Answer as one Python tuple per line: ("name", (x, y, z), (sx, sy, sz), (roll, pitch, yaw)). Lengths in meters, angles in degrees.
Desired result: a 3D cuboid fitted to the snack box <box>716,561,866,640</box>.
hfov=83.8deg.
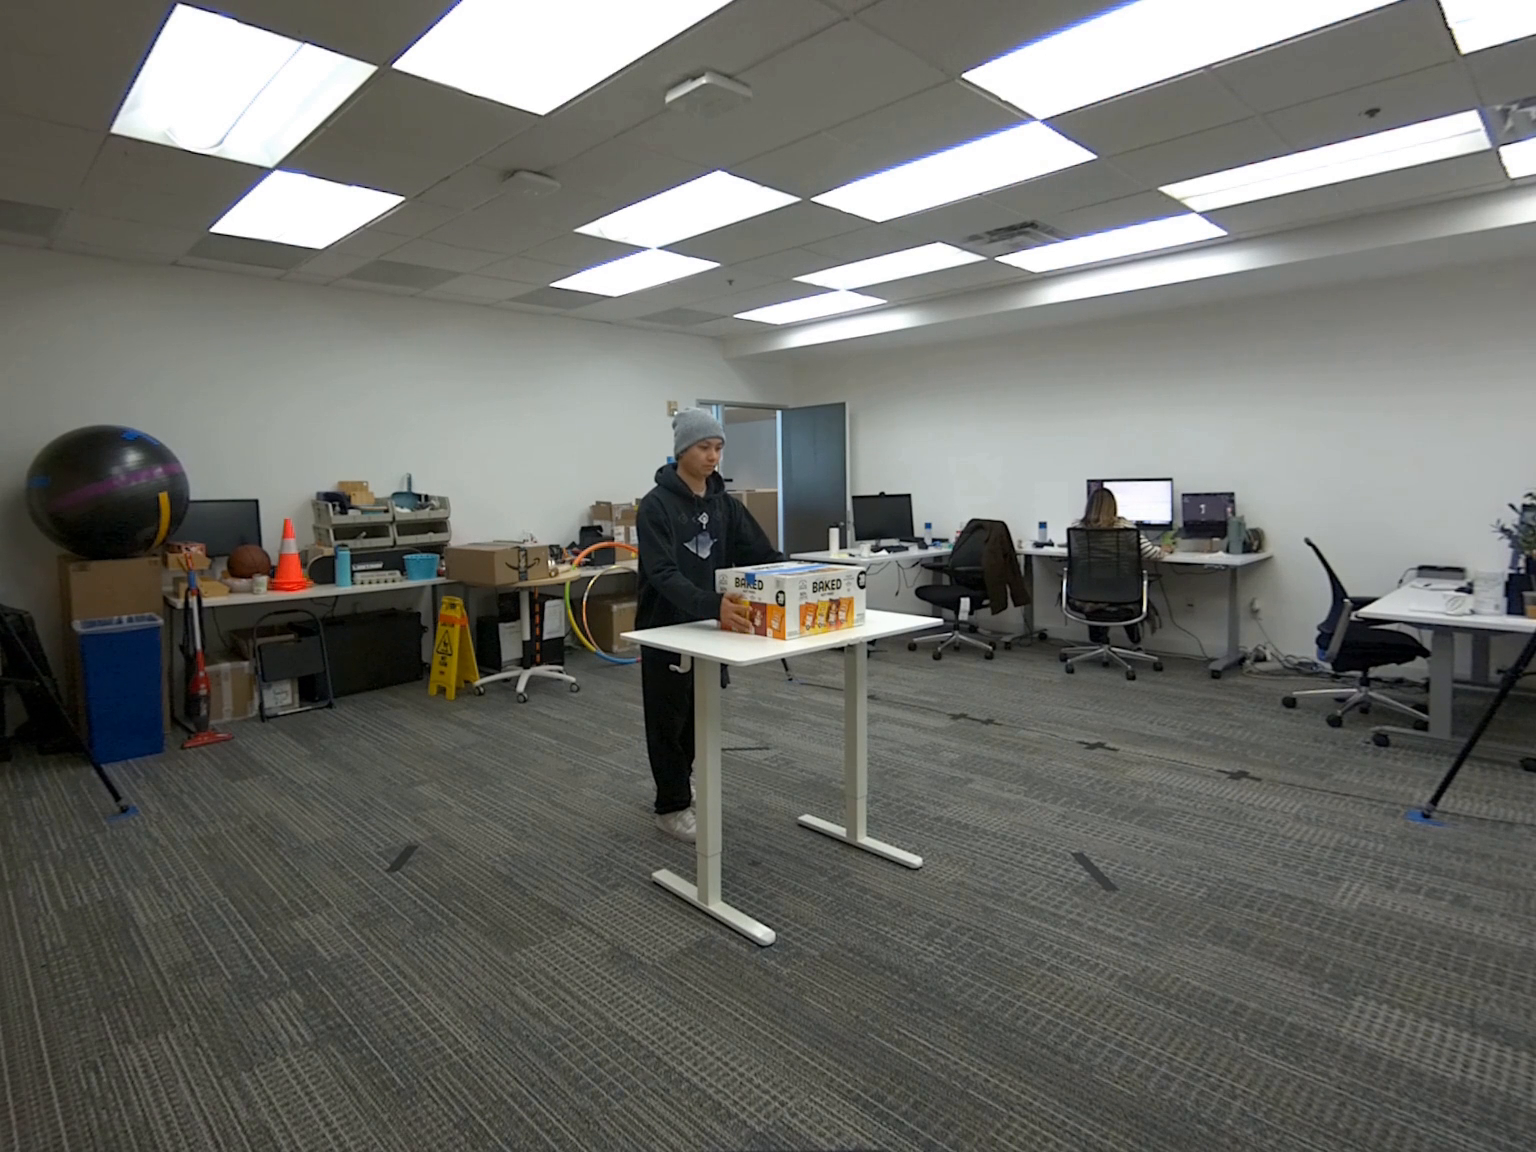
("snack box", (0.082, 0.076, 2.960), (0.394, 0.205, 0.351), (-6, 8, -44))
